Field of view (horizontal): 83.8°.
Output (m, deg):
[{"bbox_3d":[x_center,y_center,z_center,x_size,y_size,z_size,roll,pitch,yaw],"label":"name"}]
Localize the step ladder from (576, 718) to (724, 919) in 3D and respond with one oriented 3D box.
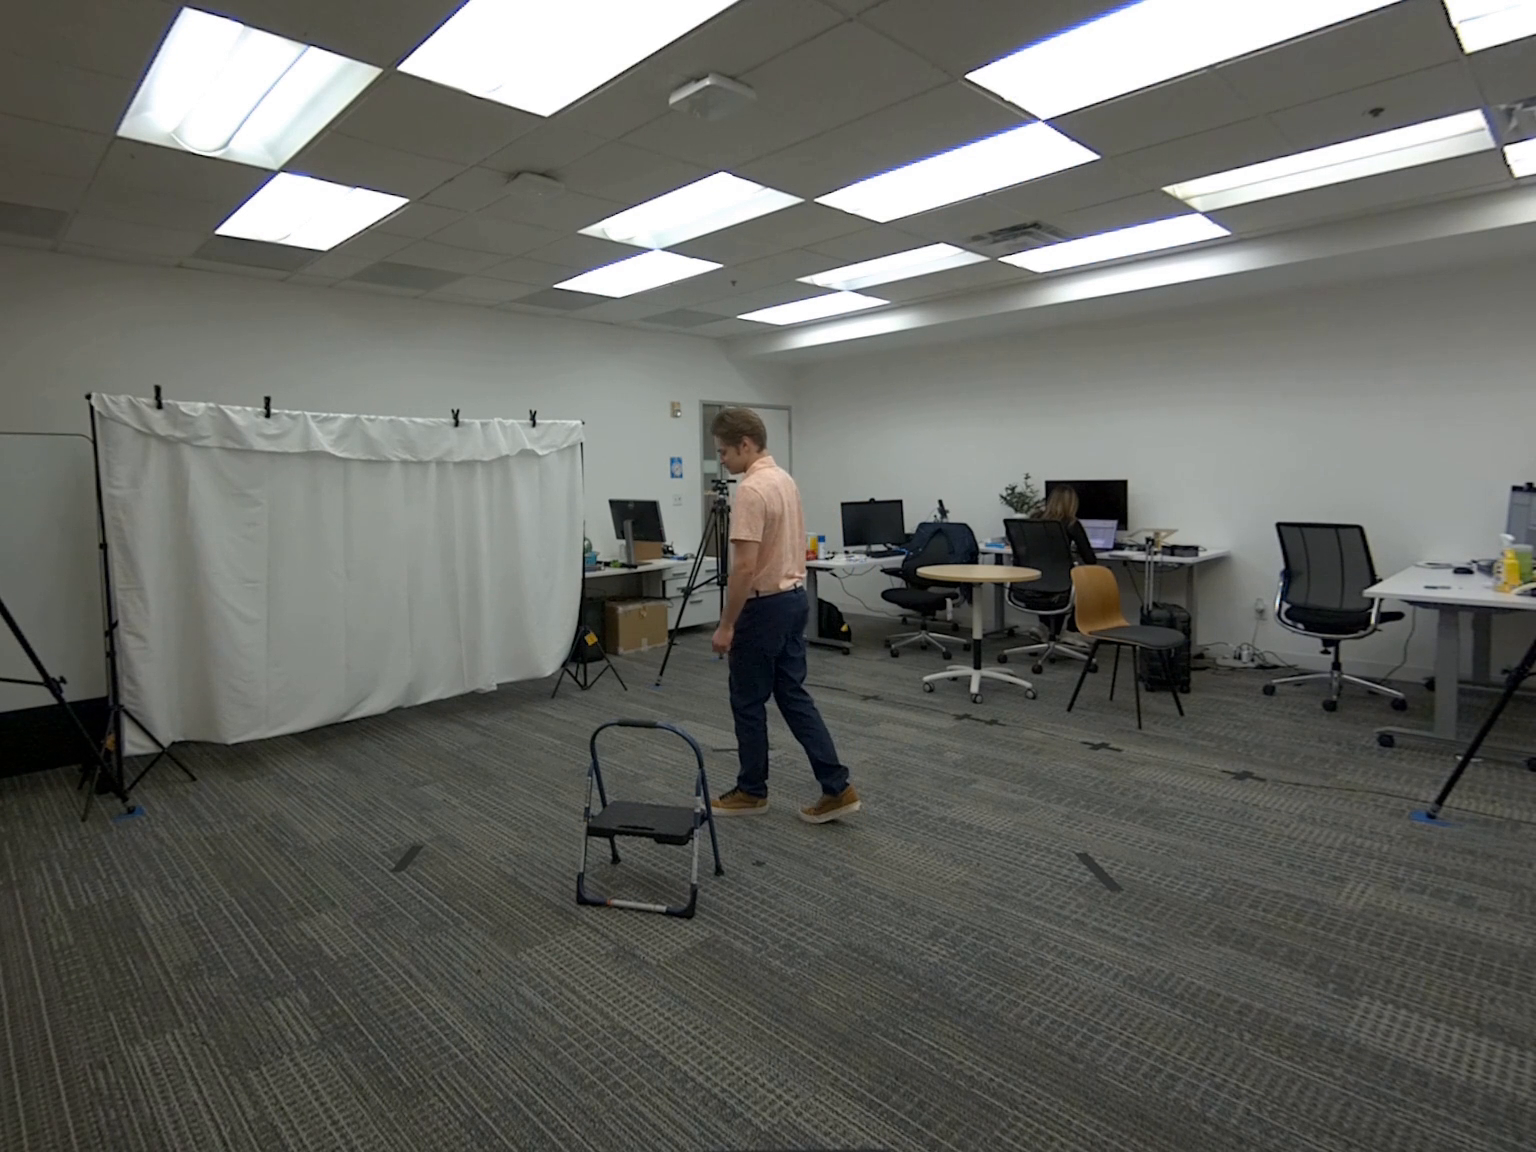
[{"bbox_3d":[-0.406,0.773,2.920,0.437,0.604,0.346,0,5,15],"label":"step ladder"}]
